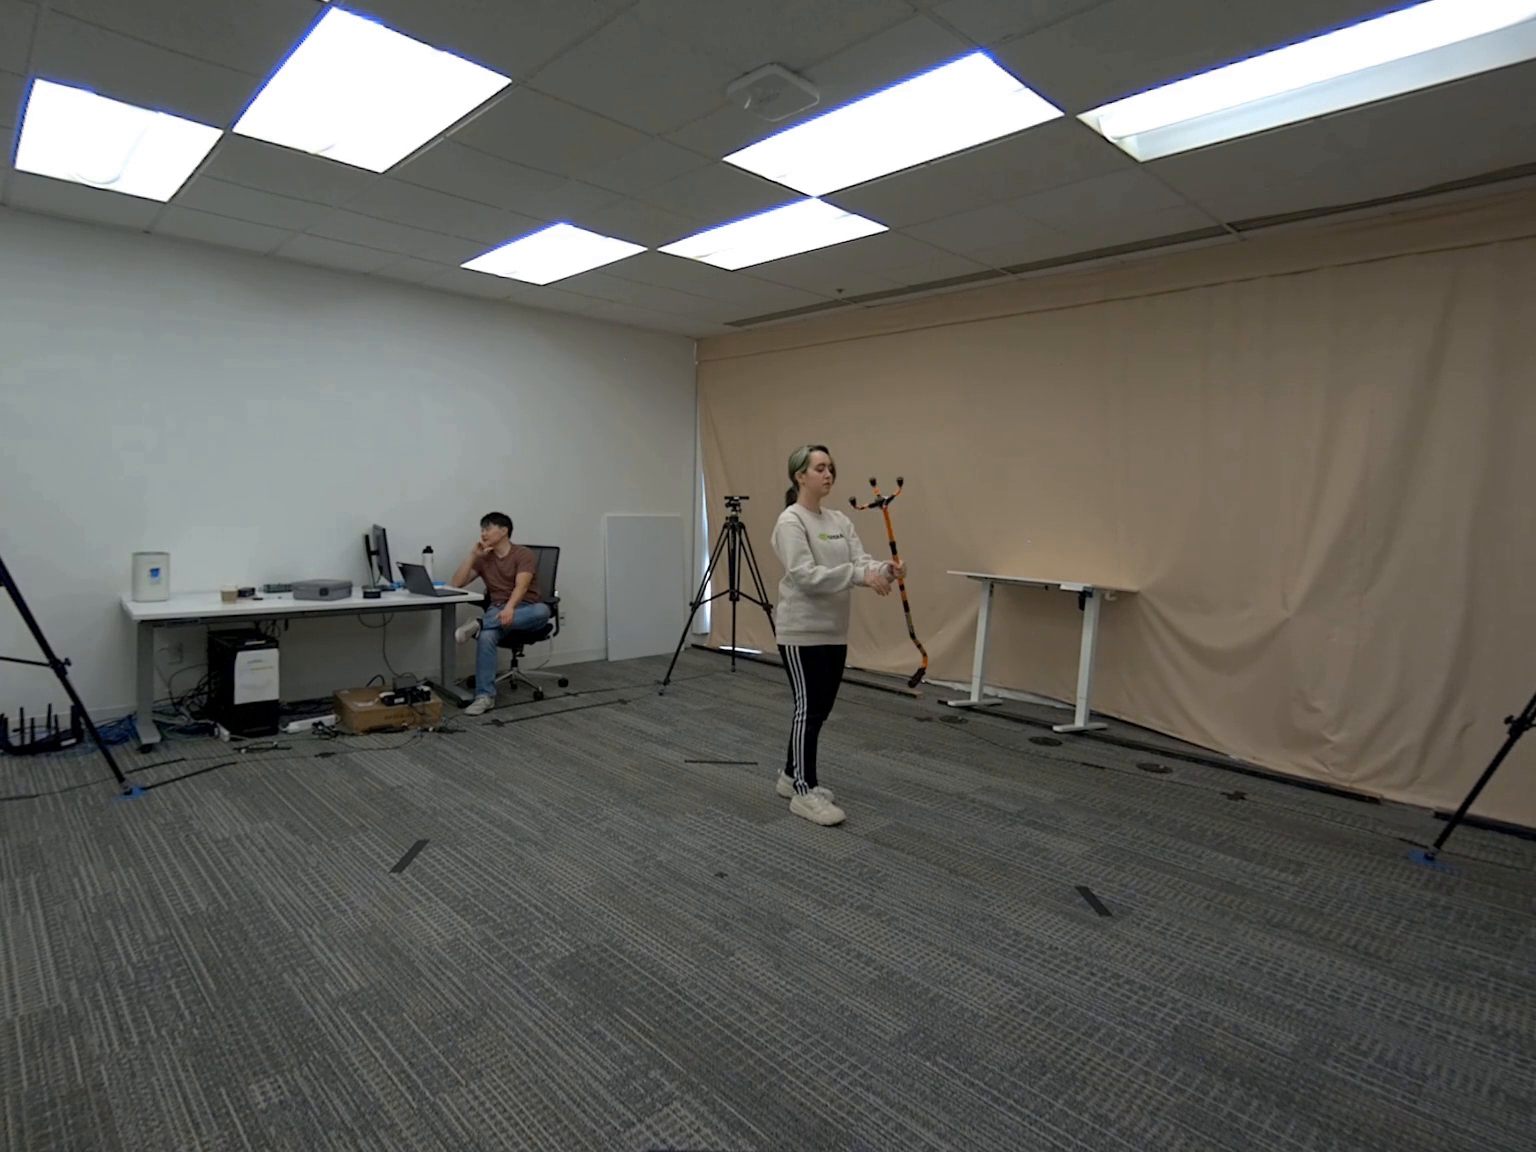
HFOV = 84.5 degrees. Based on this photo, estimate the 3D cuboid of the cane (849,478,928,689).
[{"bbox_3d":[0.535,0.046,3.520,0.155,0.889,0.206,4,31,35],"label":"cane"}]
